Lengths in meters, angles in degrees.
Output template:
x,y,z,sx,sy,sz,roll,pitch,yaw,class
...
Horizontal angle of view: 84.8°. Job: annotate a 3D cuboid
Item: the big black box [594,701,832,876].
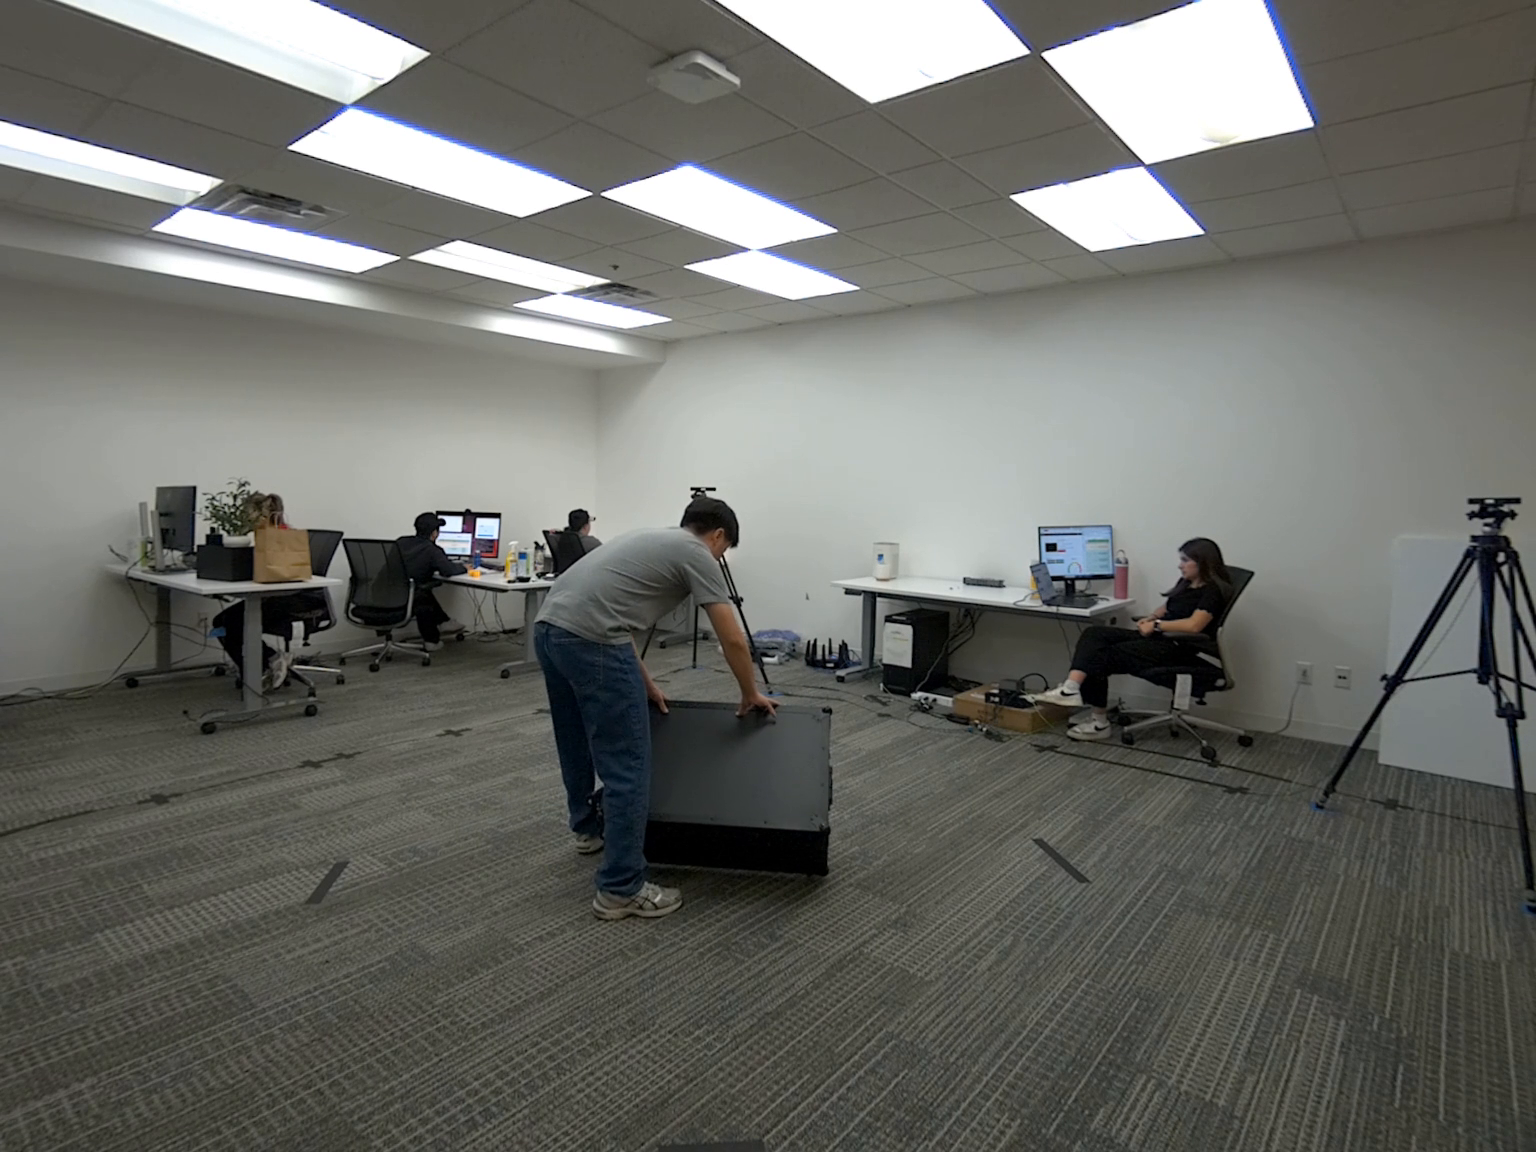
x,y,z,sx,sy,sz,roll,pitch,yaw,class
-0.203,0.774,3.163,0.867,0.534,0.384,3,-42,5,big black box
